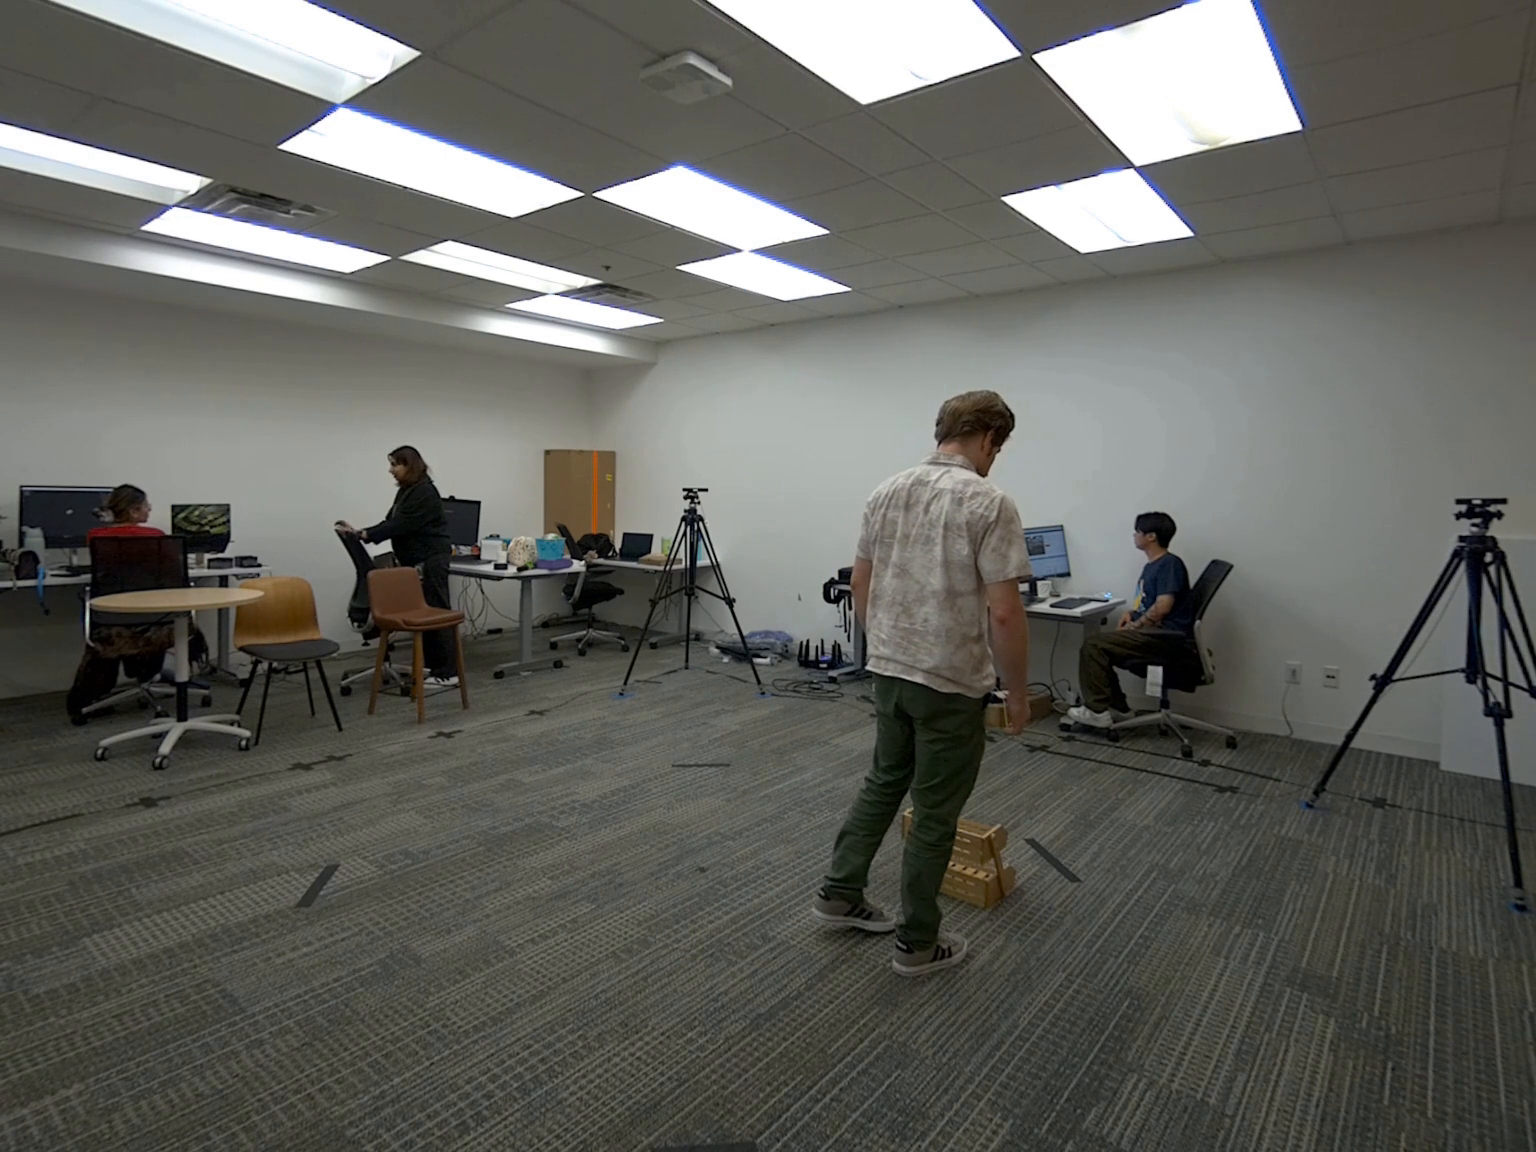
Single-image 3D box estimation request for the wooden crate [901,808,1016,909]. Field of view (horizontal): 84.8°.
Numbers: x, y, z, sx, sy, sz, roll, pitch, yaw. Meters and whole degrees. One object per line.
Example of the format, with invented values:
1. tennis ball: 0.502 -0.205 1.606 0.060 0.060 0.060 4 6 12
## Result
1. wooden crate: 0.679 0.966 3.028 0.335 0.272 0.293 5 7 38
